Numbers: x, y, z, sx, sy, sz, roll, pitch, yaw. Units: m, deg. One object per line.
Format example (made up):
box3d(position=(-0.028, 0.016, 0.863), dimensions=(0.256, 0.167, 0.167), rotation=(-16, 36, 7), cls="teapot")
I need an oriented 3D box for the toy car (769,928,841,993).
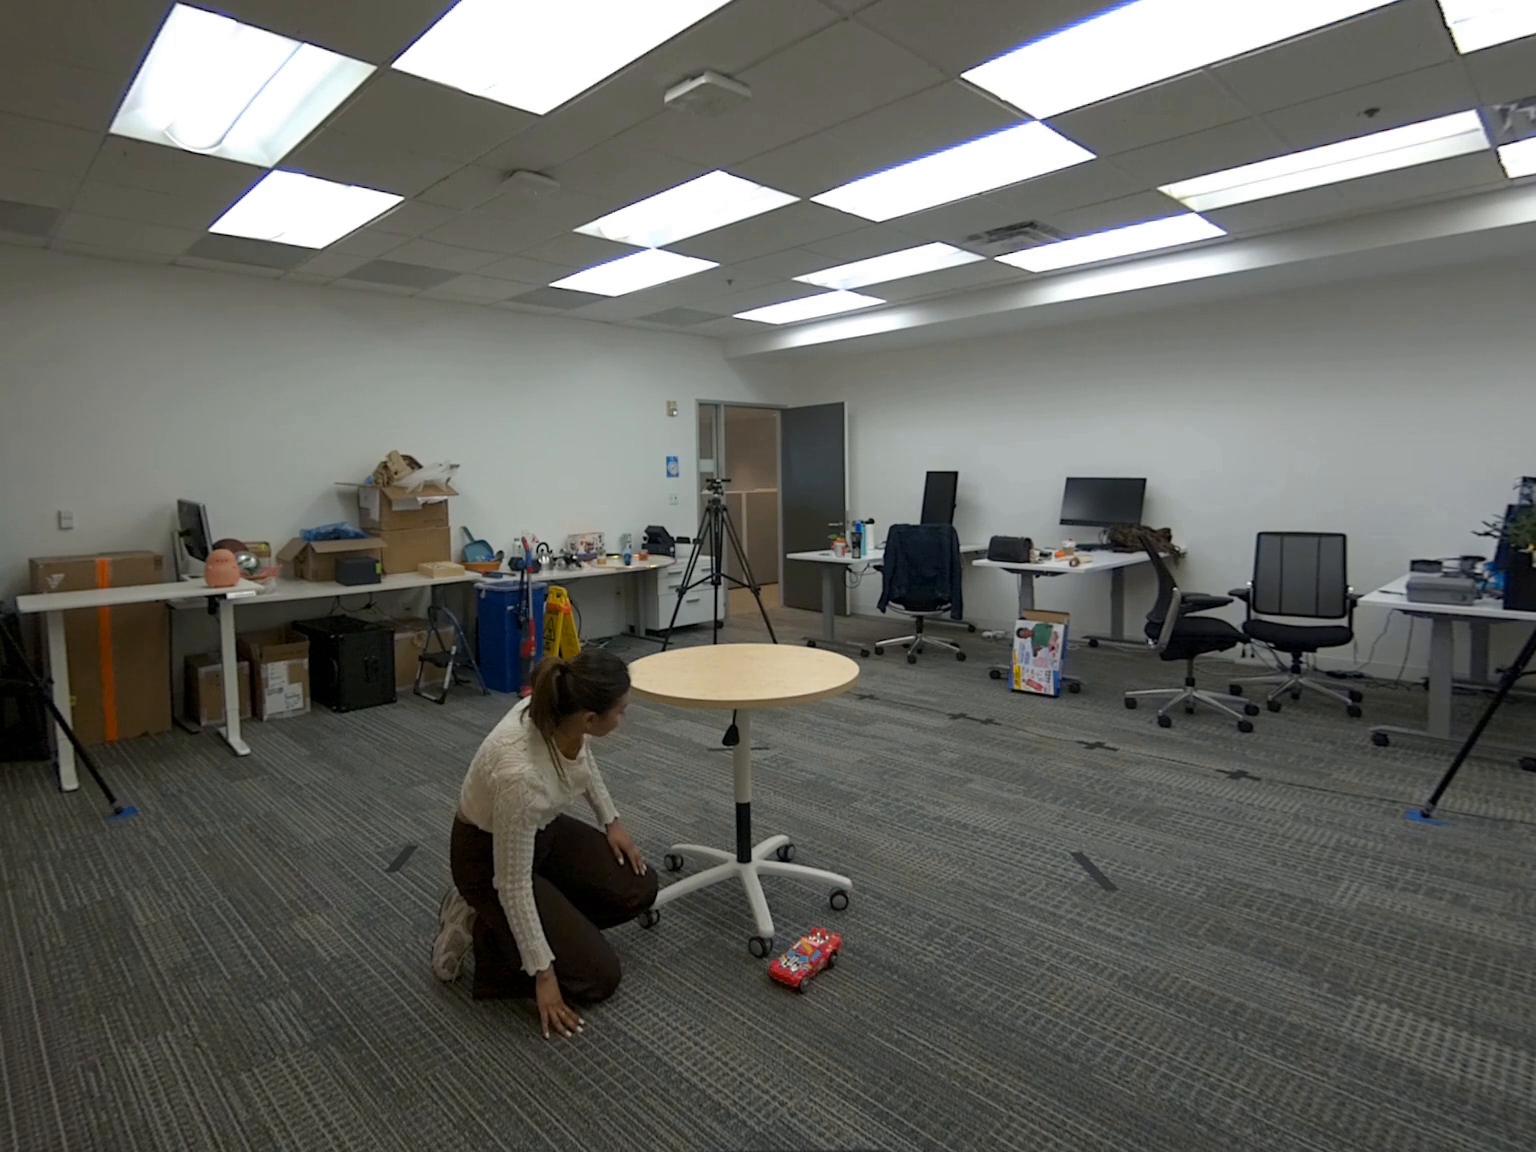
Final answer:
box3d(position=(0.114, 1.087, 2.424), dimensions=(0.134, 0.082, 0.250), rotation=(3, 18, 37), cls="toy car")
